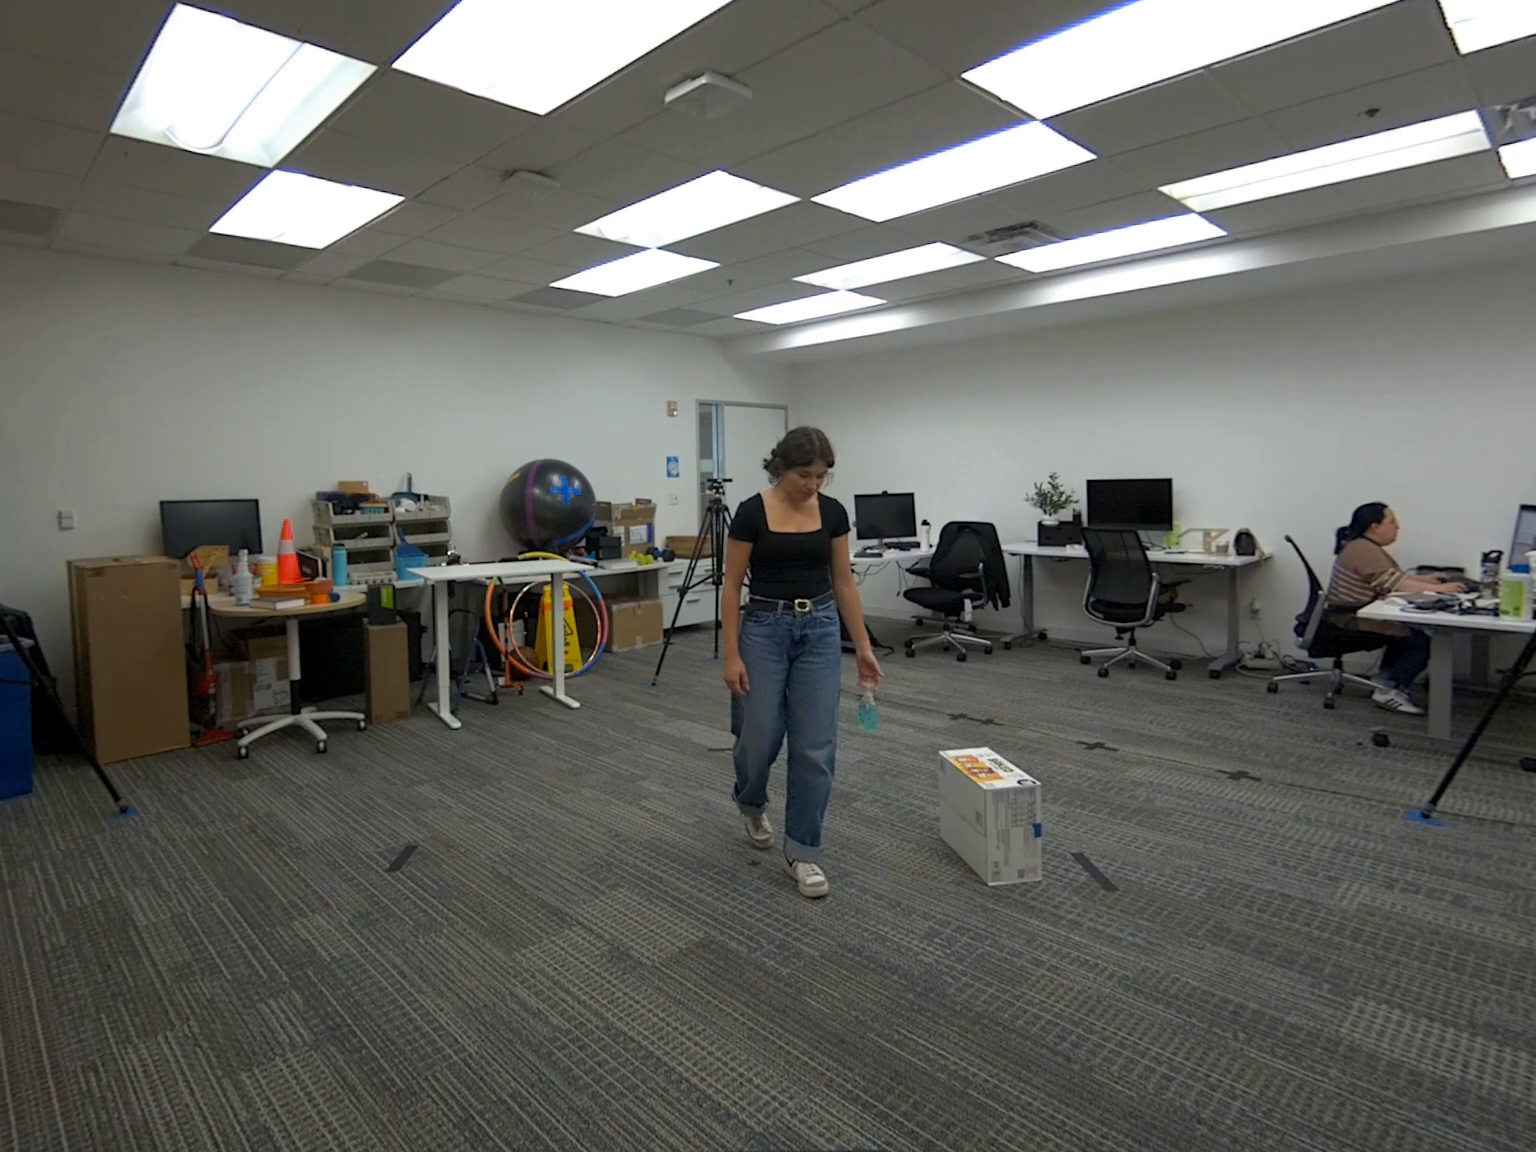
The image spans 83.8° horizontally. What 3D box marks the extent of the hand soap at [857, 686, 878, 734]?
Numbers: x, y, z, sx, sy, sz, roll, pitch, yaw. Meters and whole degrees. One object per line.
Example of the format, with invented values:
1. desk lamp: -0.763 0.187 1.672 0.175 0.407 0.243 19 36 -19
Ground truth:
1. hand soap: 0.341 0.447 2.918 0.042 0.167 0.087 -5 10 -37
